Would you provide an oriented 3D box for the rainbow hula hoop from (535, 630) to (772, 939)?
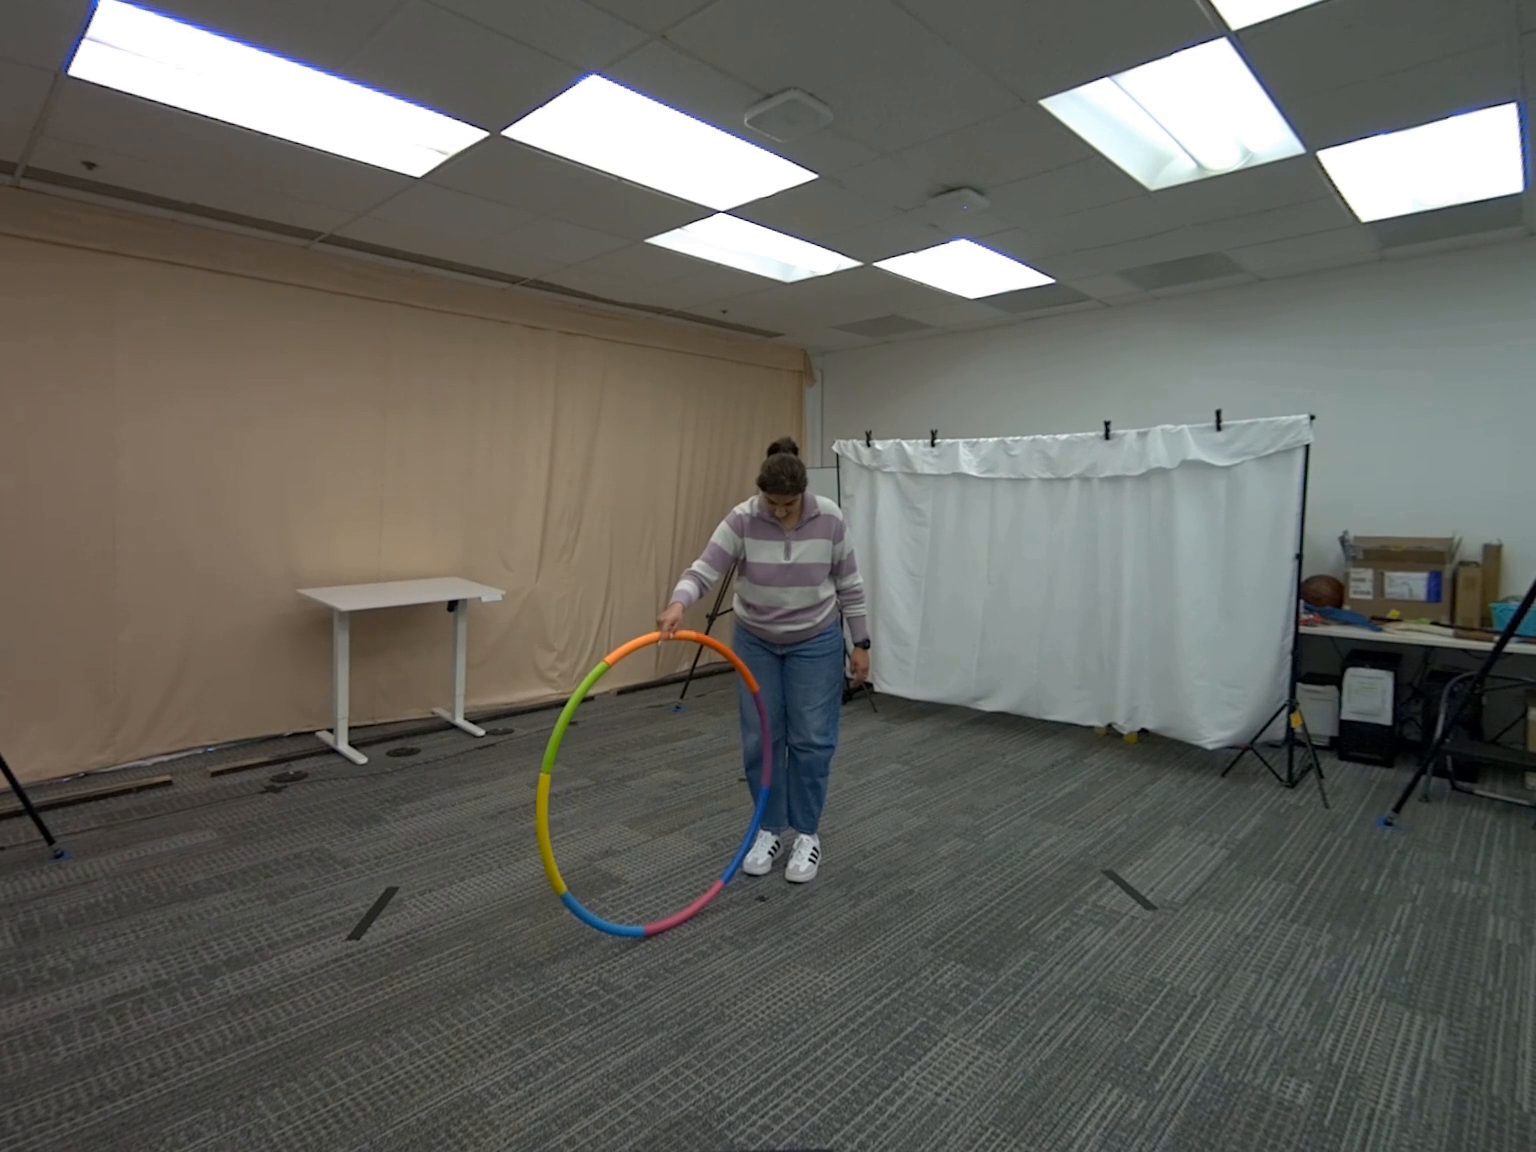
[{"bbox_3d":[-0.330,0.679,2.771,0.948,0.978,0.037,-4,2,-44],"label":"rainbow hula hoop"}]
